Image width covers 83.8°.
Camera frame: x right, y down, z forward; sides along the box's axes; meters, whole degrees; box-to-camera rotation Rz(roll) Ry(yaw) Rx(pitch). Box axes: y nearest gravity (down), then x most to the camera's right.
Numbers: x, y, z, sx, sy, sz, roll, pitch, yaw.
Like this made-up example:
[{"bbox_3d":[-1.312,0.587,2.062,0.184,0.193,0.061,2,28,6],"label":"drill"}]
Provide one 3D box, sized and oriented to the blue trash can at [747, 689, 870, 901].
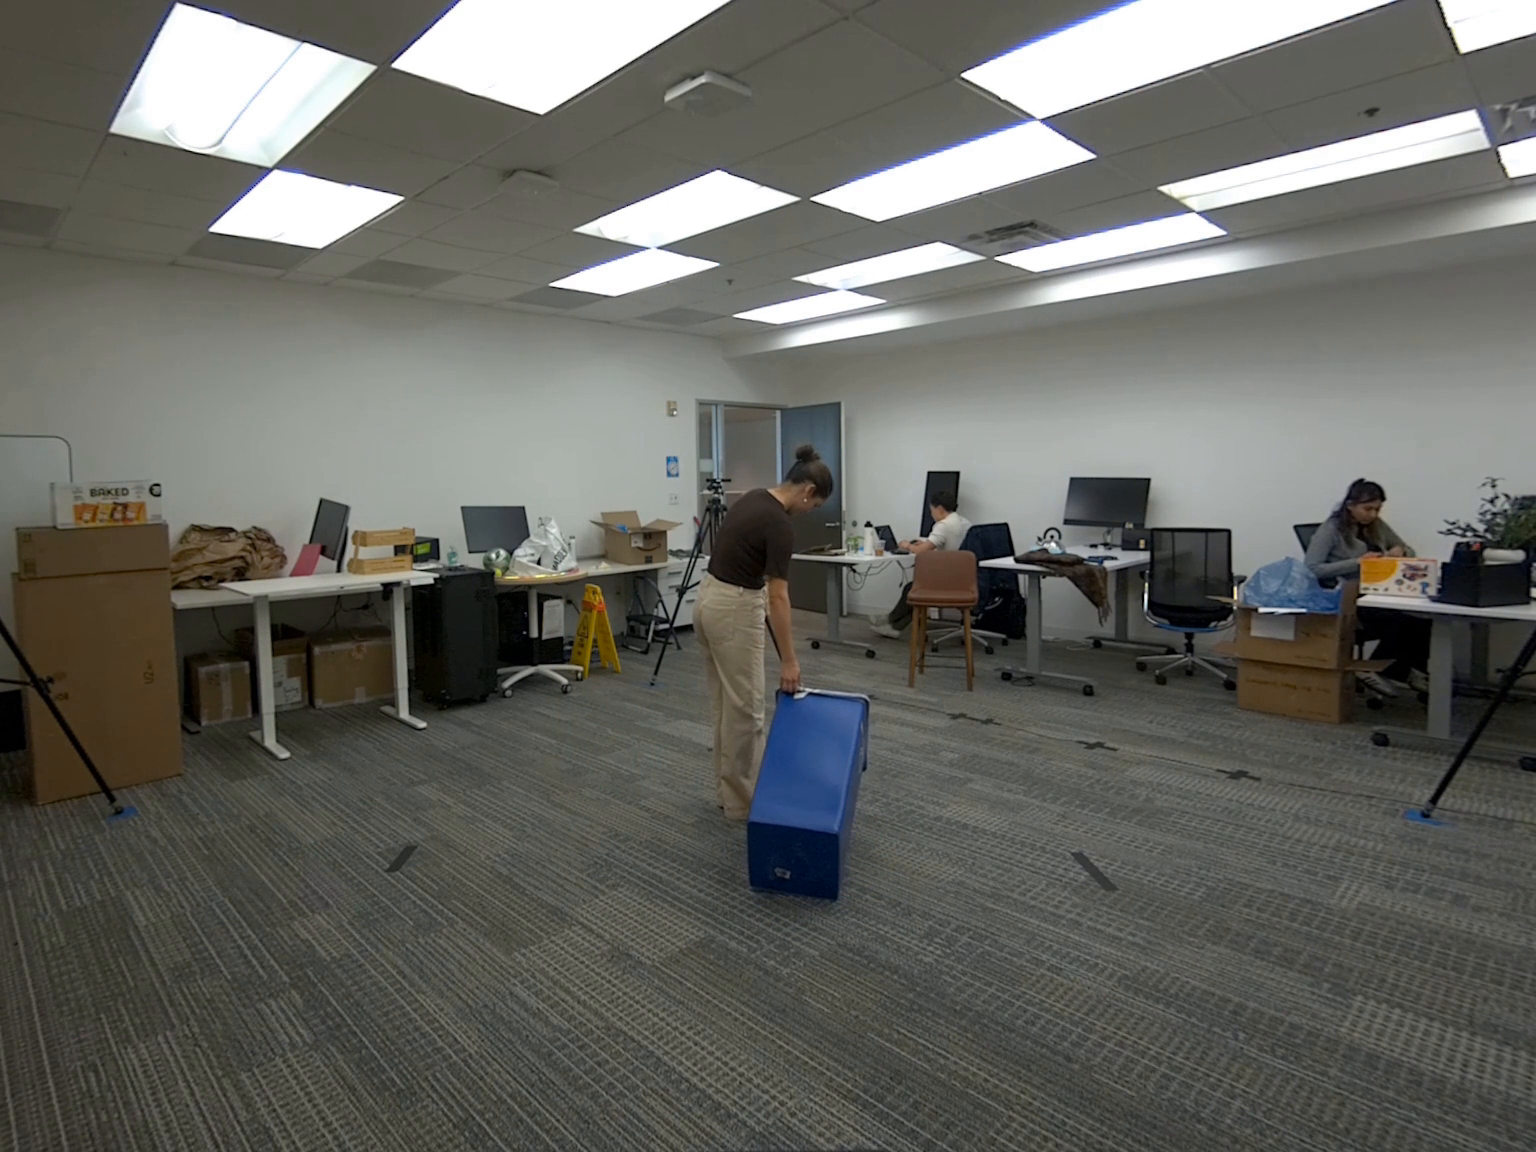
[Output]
[{"bbox_3d":[0.158,0.769,3.105,0.382,0.365,0.722,3,28,10],"label":"blue trash can"}]
